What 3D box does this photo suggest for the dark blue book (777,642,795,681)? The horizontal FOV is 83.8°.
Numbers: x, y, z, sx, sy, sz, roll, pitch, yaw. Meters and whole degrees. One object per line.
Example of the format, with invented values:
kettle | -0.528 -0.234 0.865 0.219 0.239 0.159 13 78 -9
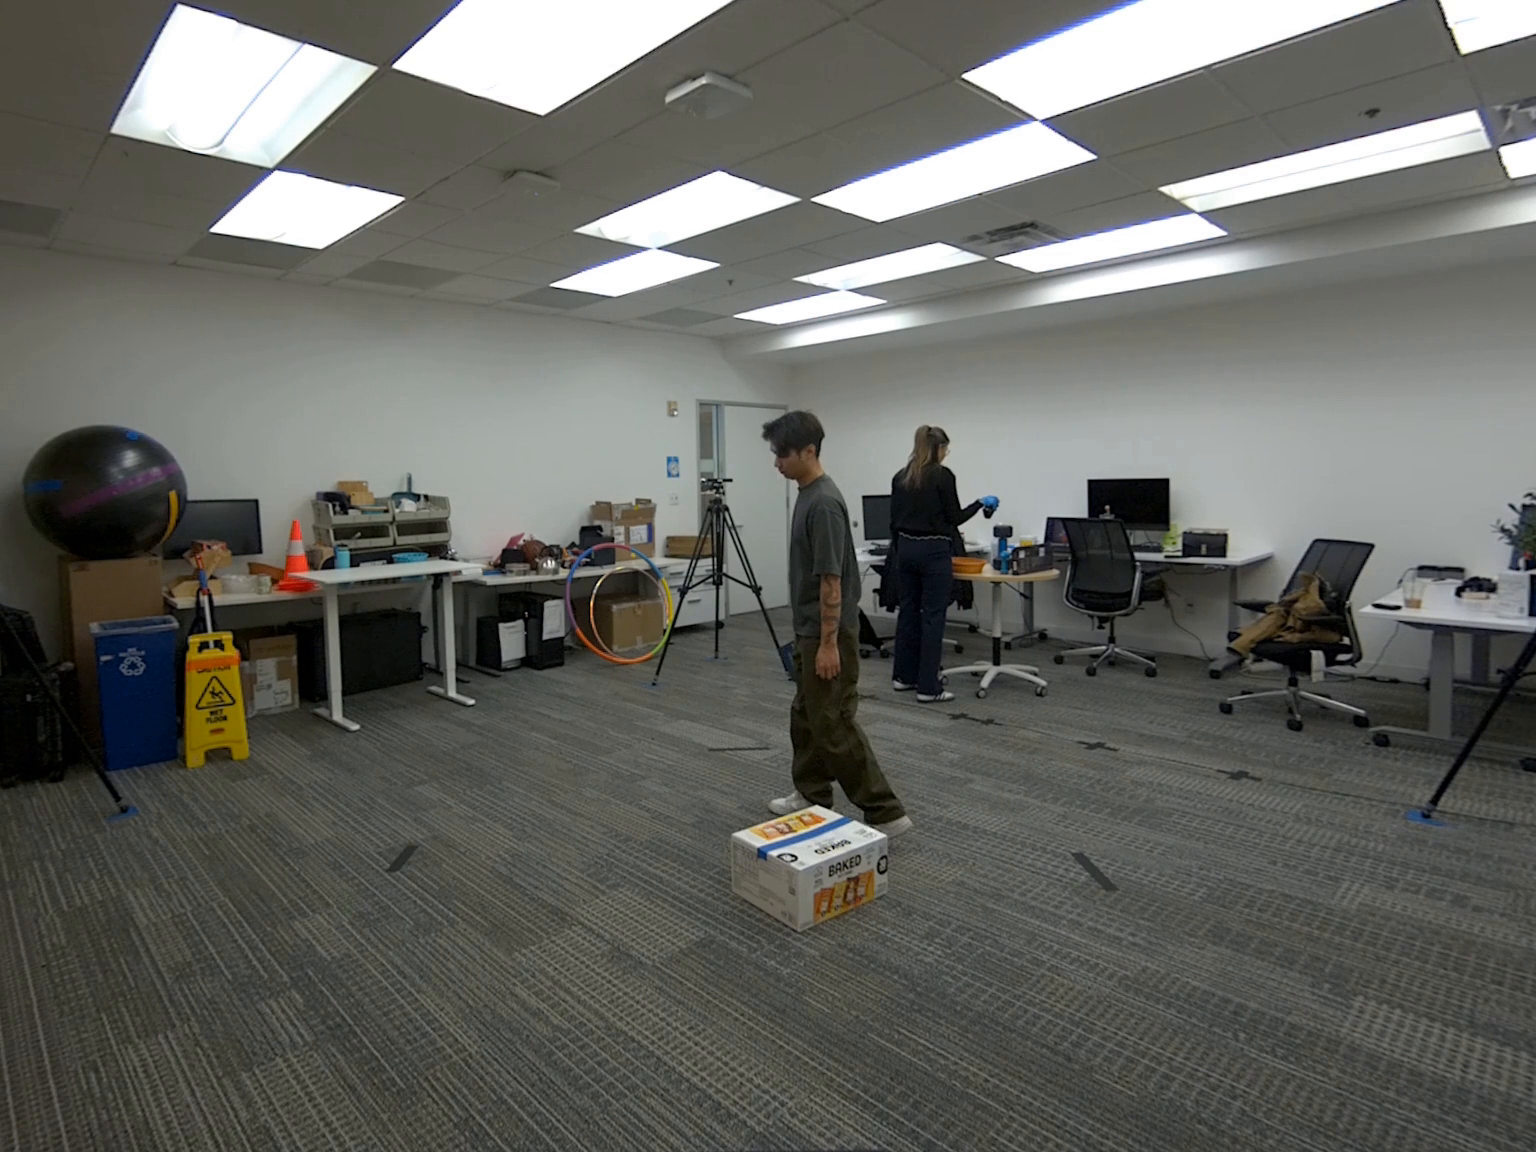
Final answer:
dark blue book | 0.191 0.338 3.703 0.247 0.166 0.044 -28 -16 17
